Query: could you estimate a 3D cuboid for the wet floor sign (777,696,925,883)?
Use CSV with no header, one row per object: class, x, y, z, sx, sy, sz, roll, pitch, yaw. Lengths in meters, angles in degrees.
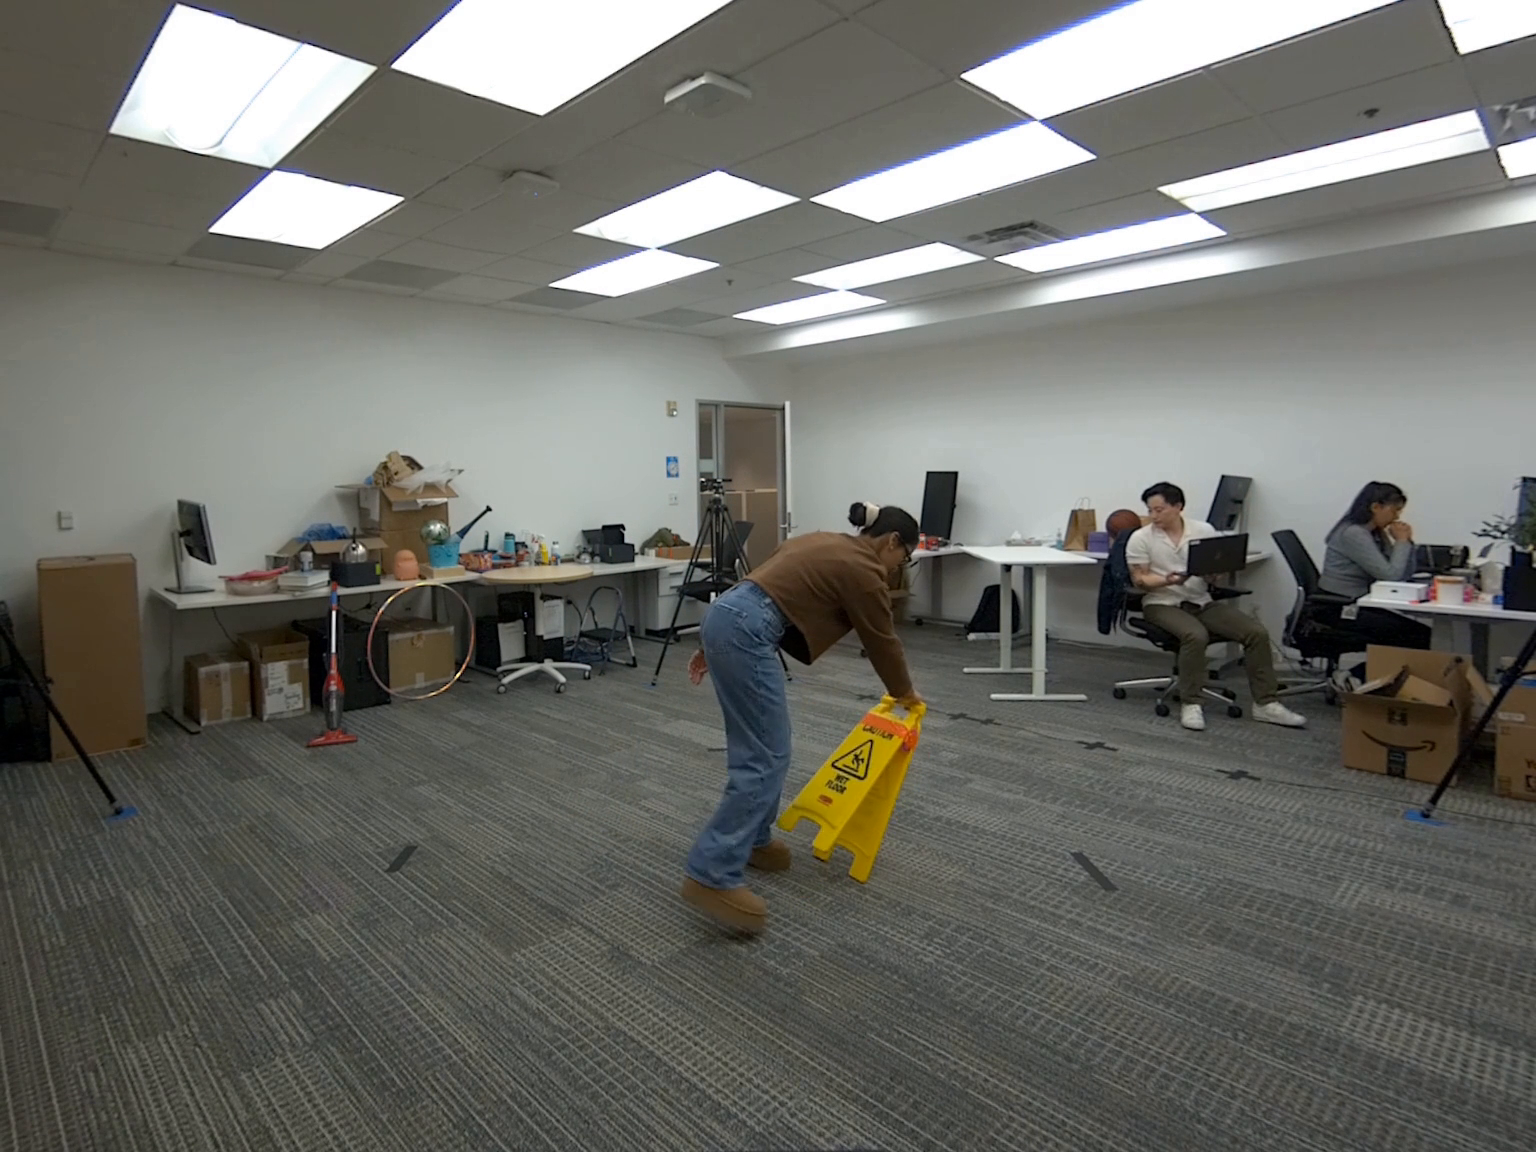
wet floor sign,0.350,0.717,3.089,0.280,0.649,0.290,42,-21,-30
